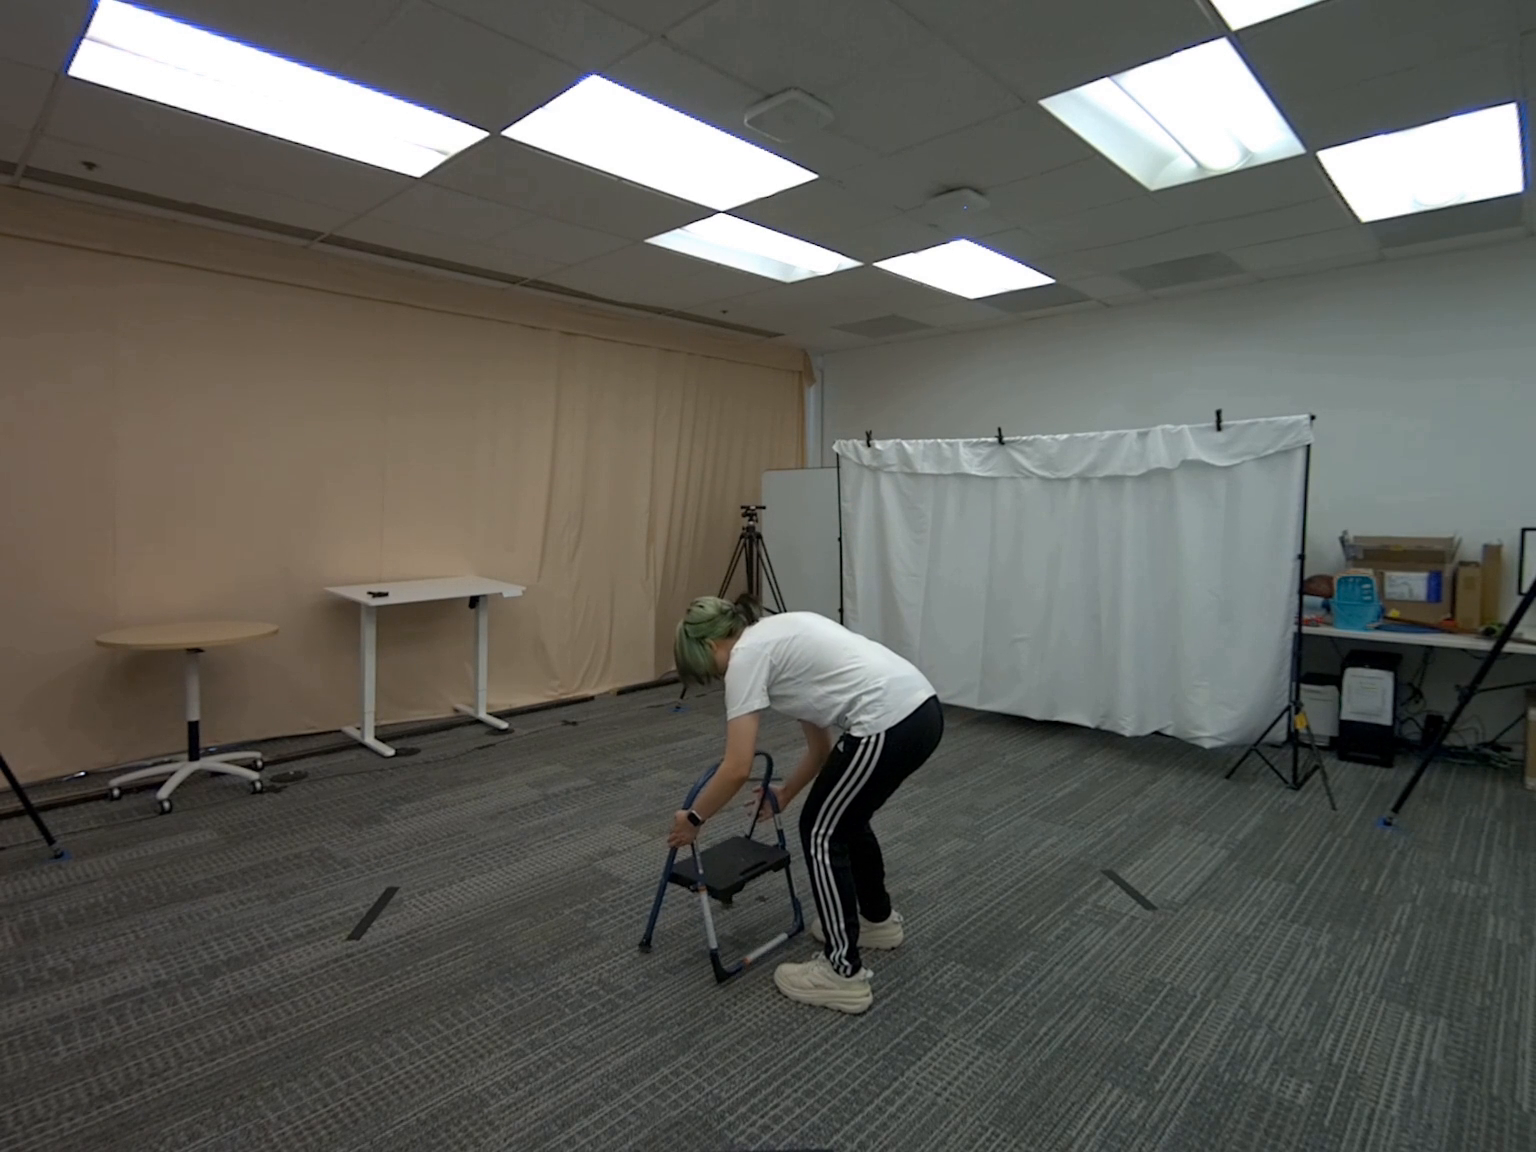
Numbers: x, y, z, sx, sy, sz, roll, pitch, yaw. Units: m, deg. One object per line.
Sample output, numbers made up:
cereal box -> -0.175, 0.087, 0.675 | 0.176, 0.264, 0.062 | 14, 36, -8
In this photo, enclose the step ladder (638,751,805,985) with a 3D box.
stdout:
step ladder -> -0.144, 0.846, 2.664 | 0.360, 0.605, 0.418 | 2, 5, 39
